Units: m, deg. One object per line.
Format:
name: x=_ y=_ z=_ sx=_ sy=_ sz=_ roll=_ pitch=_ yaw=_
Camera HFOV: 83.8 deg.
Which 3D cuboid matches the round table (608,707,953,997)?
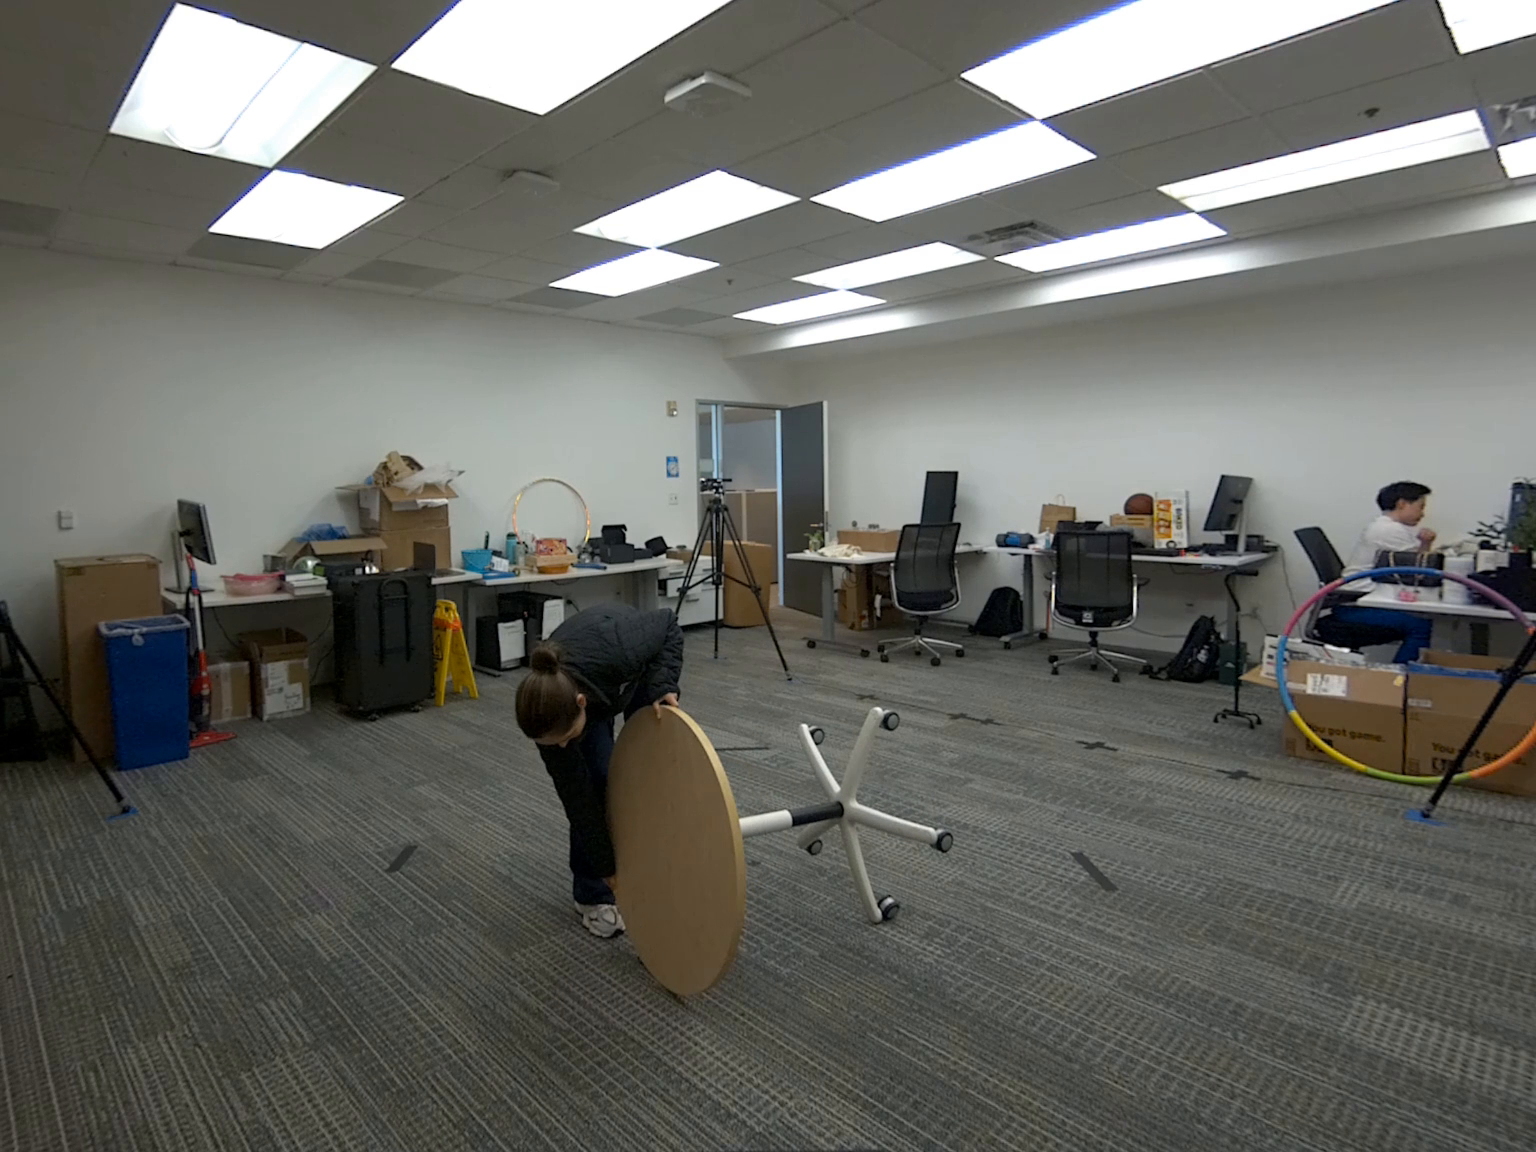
round table: x=0.019 y=0.758 z=2.614 sx=0.764 sy=0.784 sz=0.808 roll=1 pitch=3 yaw=-37
